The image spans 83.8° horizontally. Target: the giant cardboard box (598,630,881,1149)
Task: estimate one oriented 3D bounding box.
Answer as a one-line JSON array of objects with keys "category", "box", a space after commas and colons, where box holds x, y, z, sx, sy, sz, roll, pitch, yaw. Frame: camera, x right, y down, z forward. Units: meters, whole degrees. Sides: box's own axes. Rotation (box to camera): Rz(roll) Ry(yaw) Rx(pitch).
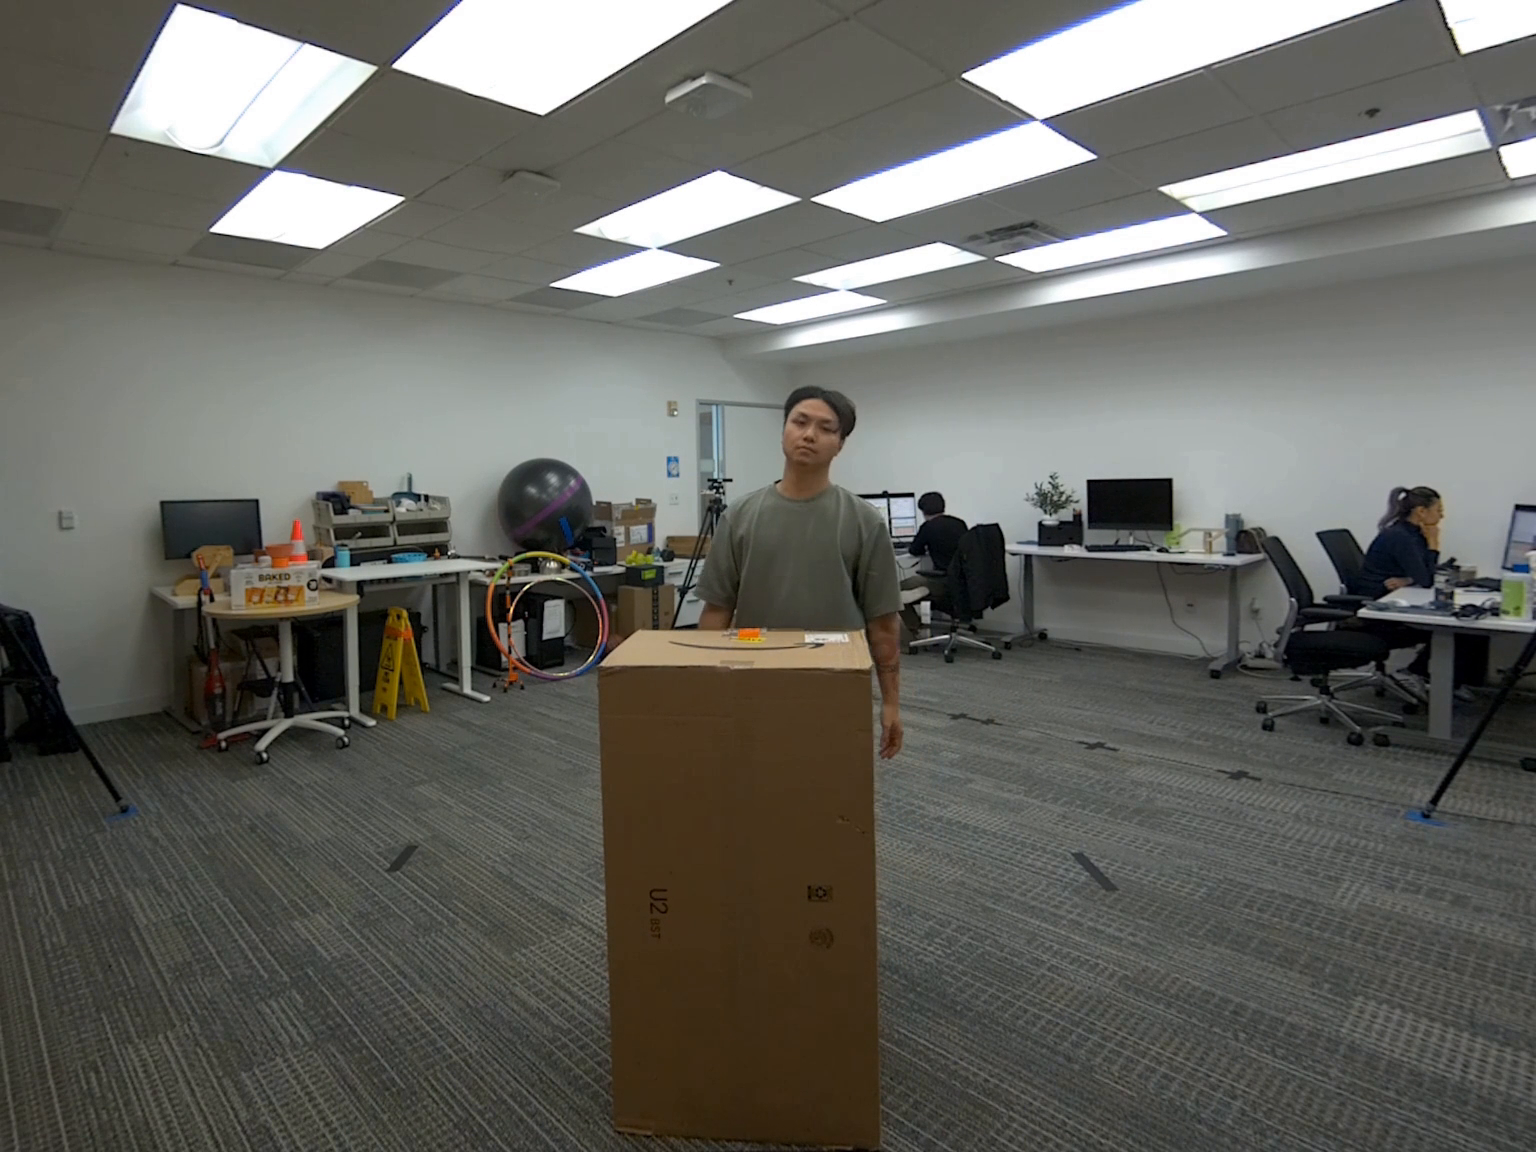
[{"category": "giant cardboard box", "box": [-0.039, 0.677, 1.973, 0.581, 1.021, 0.426, -1, 5, 6]}]
